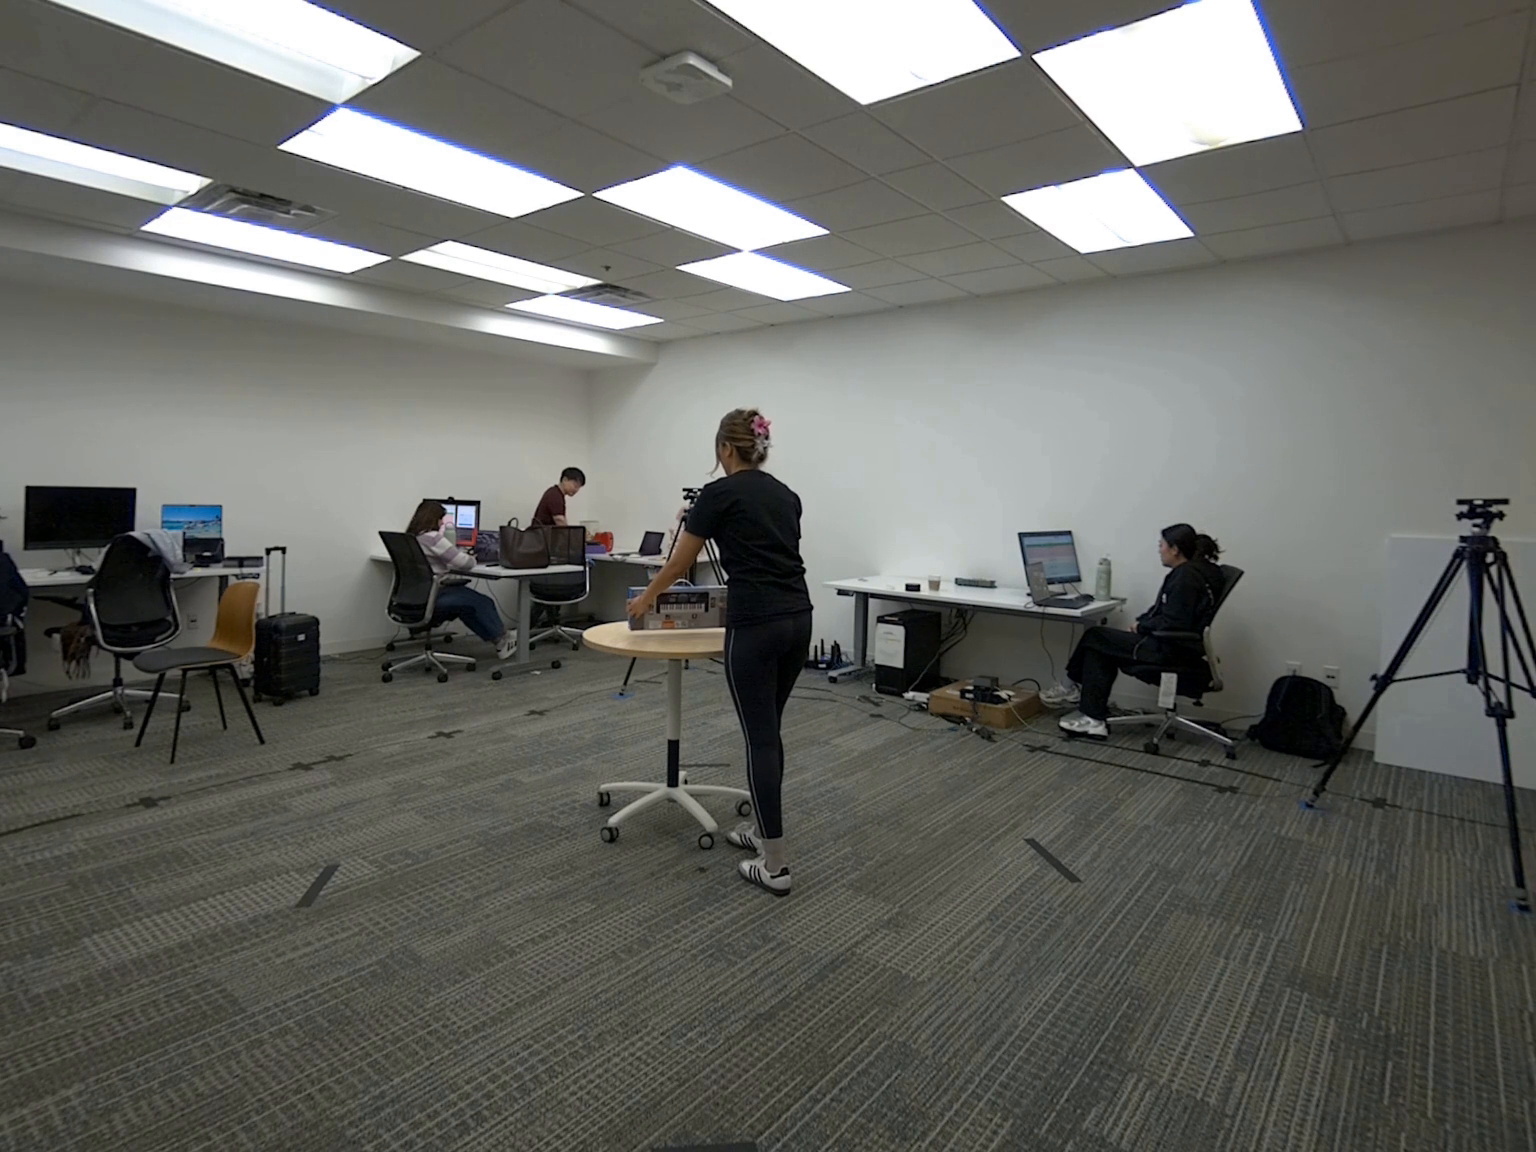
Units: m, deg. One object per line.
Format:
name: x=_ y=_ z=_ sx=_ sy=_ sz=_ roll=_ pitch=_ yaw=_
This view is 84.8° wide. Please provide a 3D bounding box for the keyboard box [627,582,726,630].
keyboard box: x=-0.374 y=0.127 z=3.546 sx=0.428 sy=0.175 sz=0.060 roll=-1 pitch=5 yaw=-19
